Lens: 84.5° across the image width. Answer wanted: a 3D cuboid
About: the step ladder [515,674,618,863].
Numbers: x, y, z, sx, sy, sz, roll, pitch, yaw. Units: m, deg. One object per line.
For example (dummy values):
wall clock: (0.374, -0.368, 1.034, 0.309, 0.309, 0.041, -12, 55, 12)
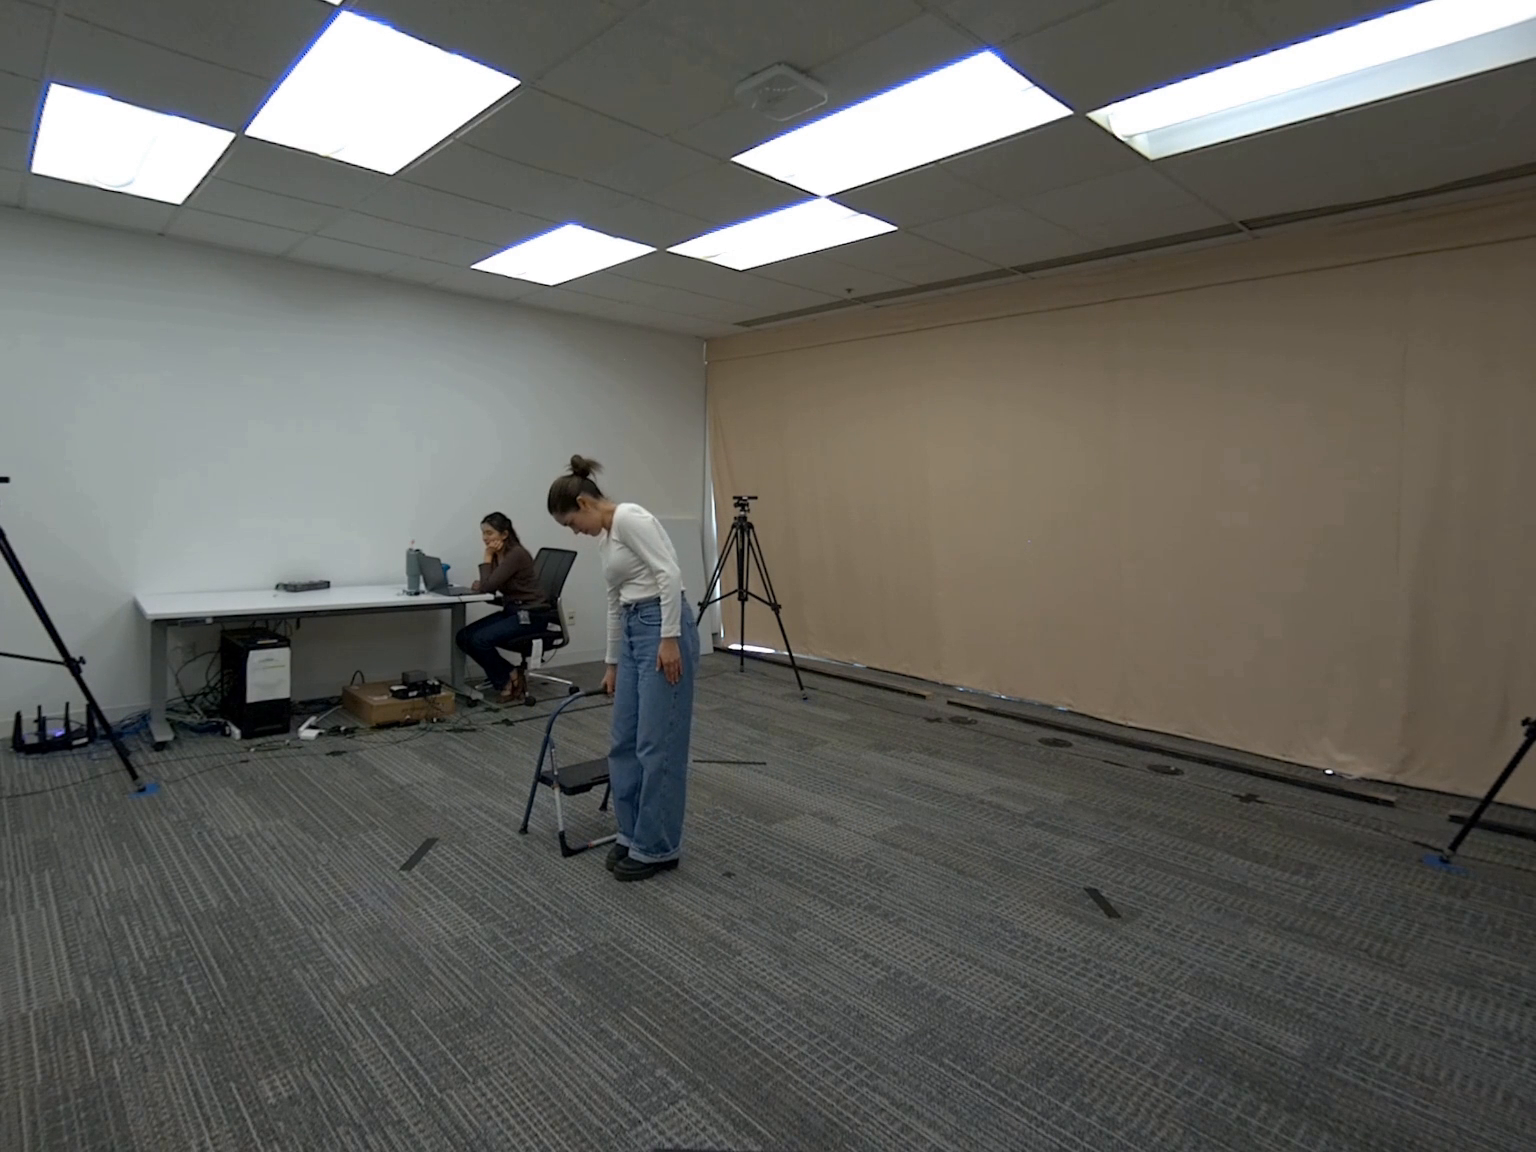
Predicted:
step ladder: (-0.755, 0.757, 3.465, 0.421, 0.605, 0.358, -2, 4, -44)
